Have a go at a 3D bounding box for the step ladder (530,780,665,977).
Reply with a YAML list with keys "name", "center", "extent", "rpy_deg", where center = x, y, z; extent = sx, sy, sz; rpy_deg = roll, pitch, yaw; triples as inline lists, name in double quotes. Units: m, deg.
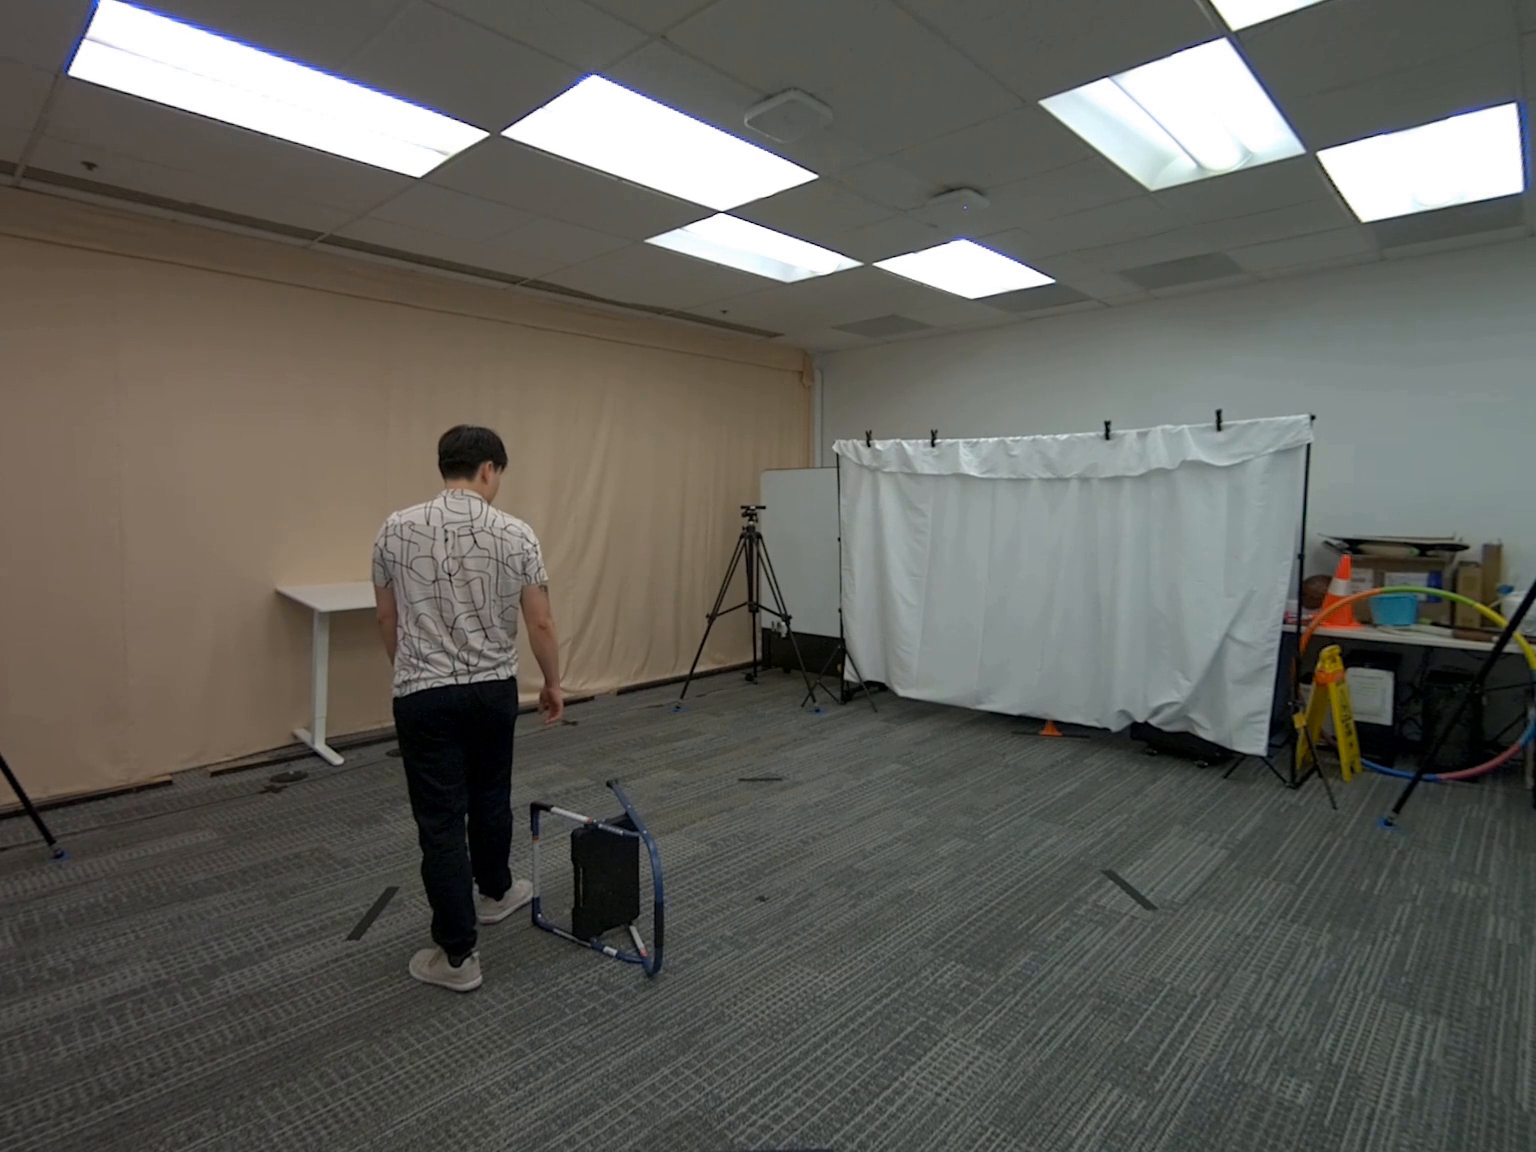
- name: "step ladder"
  center: [-0.458, 0.963, 2.672]
  extent: [0.339, 0.429, 0.626]
  rpy_deg: [-5, 6, -42]
